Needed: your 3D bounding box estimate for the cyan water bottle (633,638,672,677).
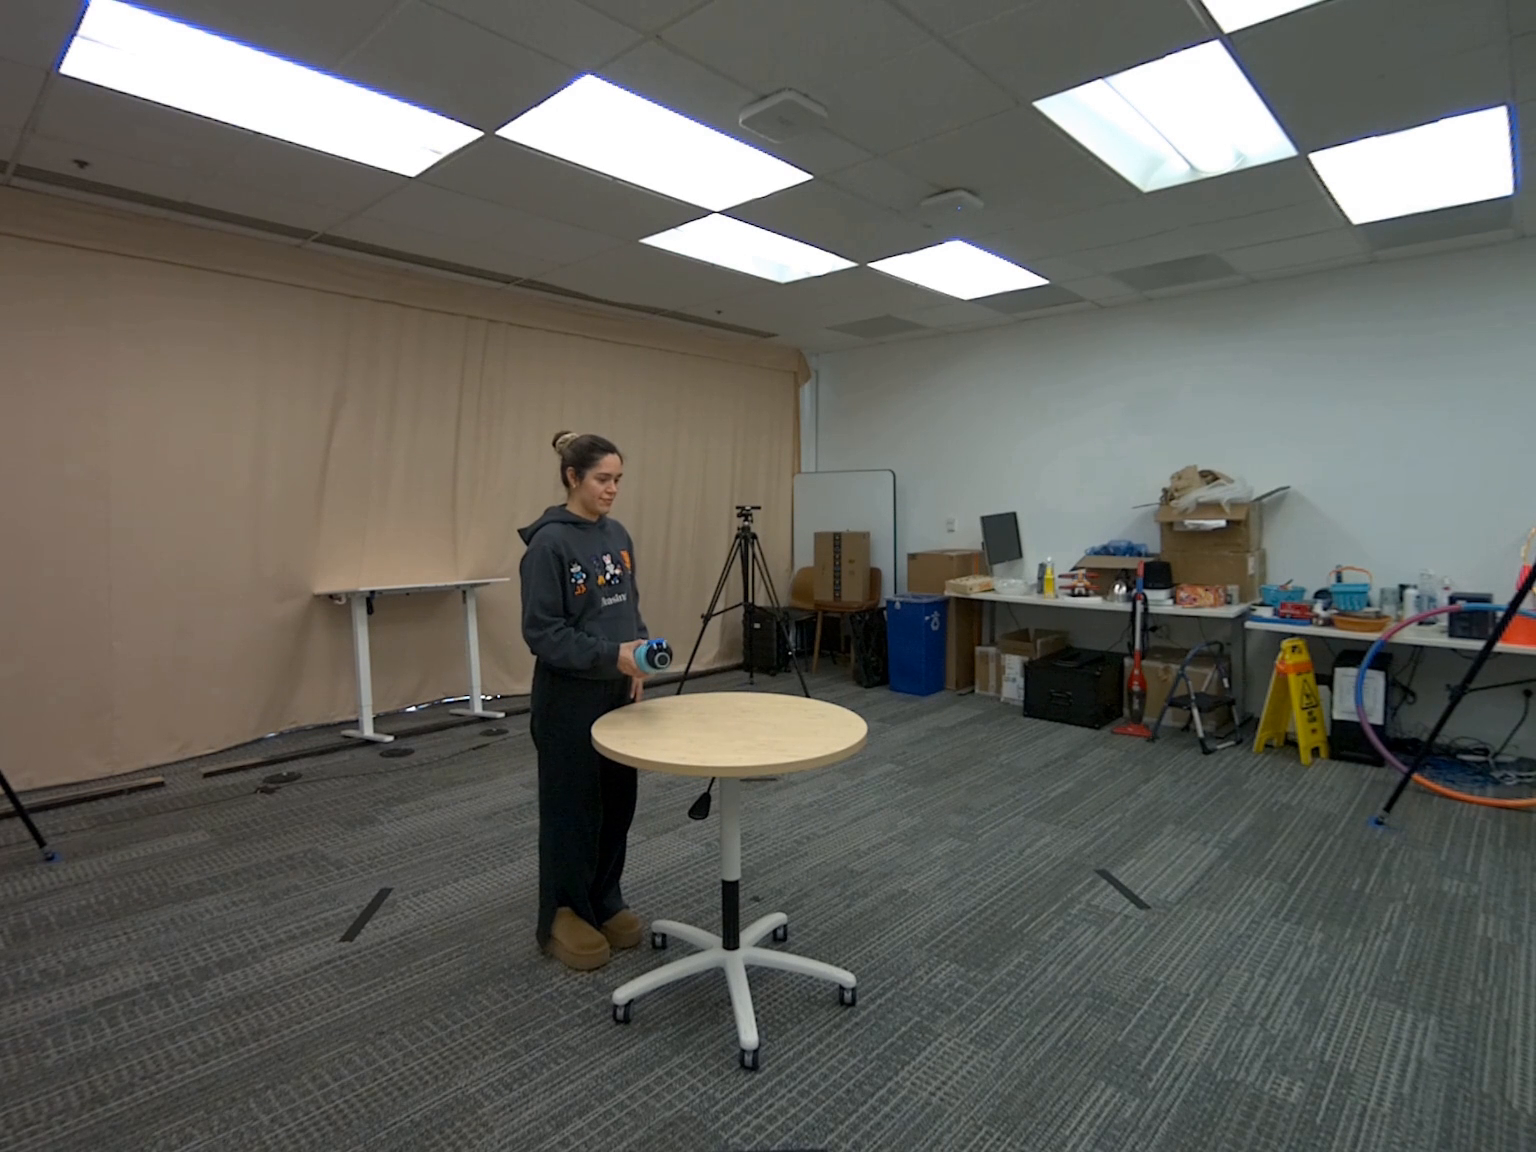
[{"bbox_3d":[-0.336,0.238,2.452,0.090,0.093,0.287,-1,-10,-23],"label":"cyan water bottle"}]
